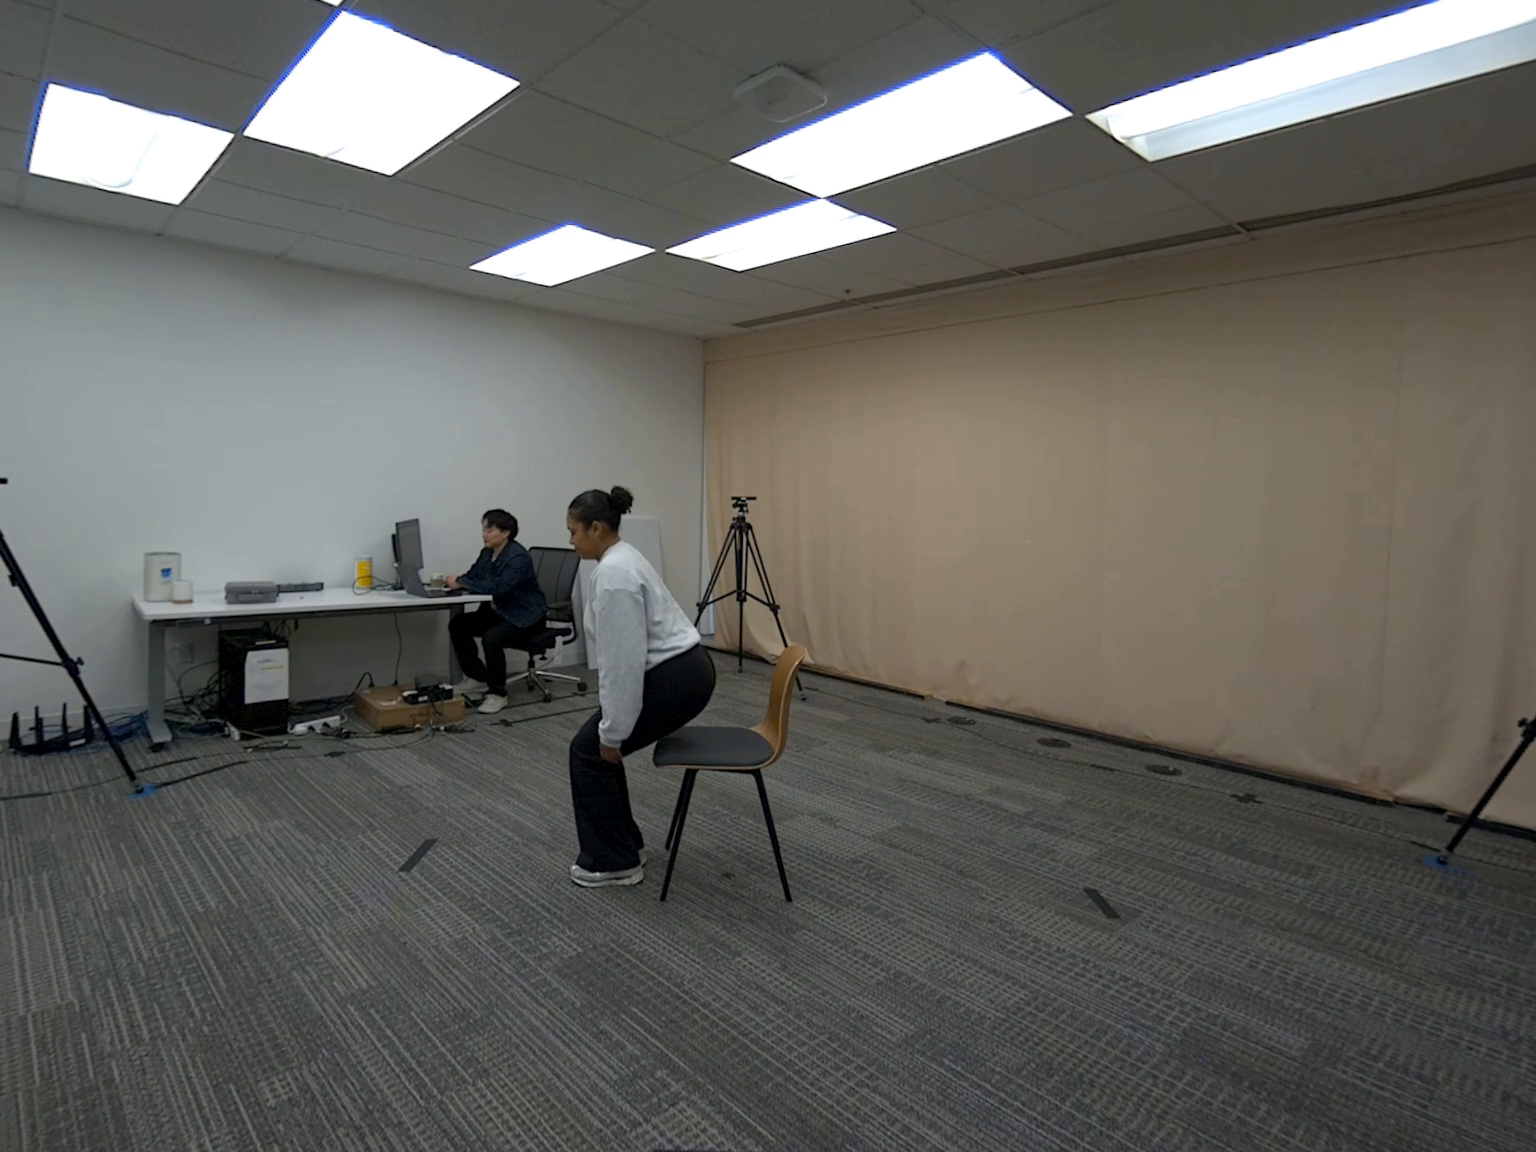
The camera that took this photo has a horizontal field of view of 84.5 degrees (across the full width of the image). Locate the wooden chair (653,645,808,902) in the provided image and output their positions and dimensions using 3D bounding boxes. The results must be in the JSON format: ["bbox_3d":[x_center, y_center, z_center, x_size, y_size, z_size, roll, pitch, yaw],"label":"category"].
[{"bbox_3d":[-0.164,0.677,3.091,0.521,0.875,0.481,5,3,-4],"label":"wooden chair"}]
